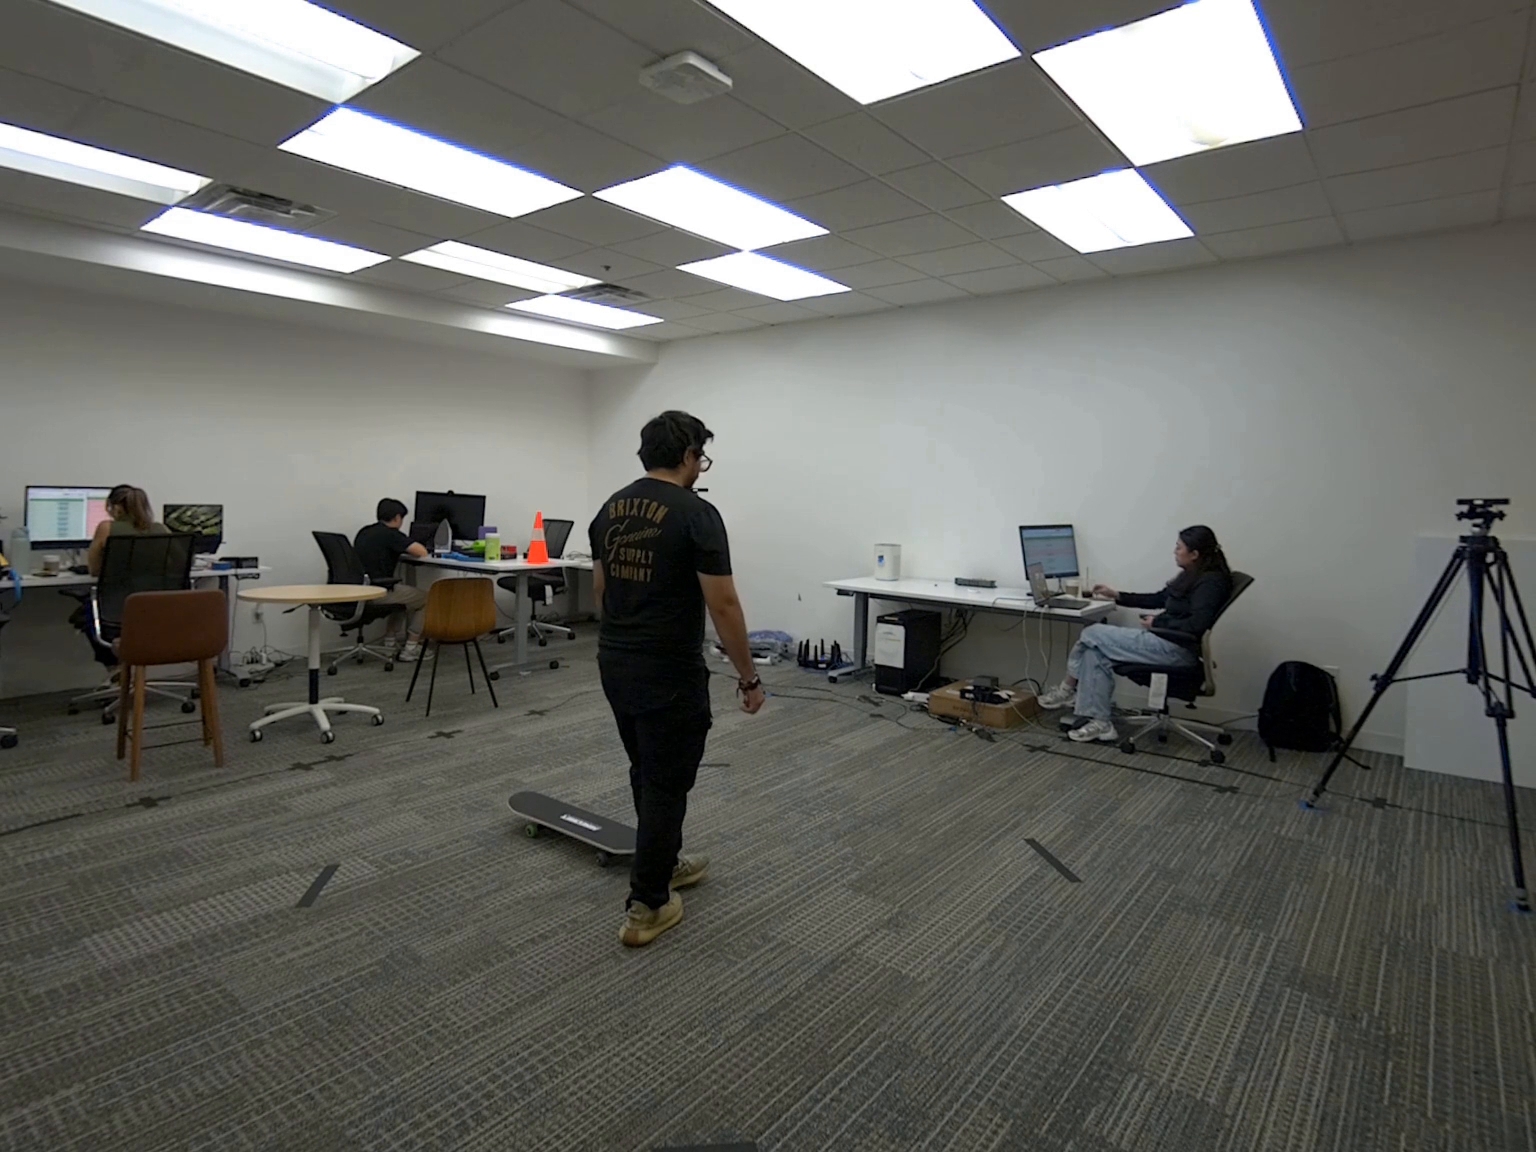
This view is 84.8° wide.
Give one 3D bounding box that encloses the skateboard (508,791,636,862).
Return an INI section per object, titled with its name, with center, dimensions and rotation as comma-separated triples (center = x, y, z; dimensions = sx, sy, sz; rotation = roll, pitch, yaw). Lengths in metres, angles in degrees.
[skateboard]
center = -0.739, 0.985, 3.302
dimensions = 0.811, 0.110, 0.188
rotation = 5, 7, 36
